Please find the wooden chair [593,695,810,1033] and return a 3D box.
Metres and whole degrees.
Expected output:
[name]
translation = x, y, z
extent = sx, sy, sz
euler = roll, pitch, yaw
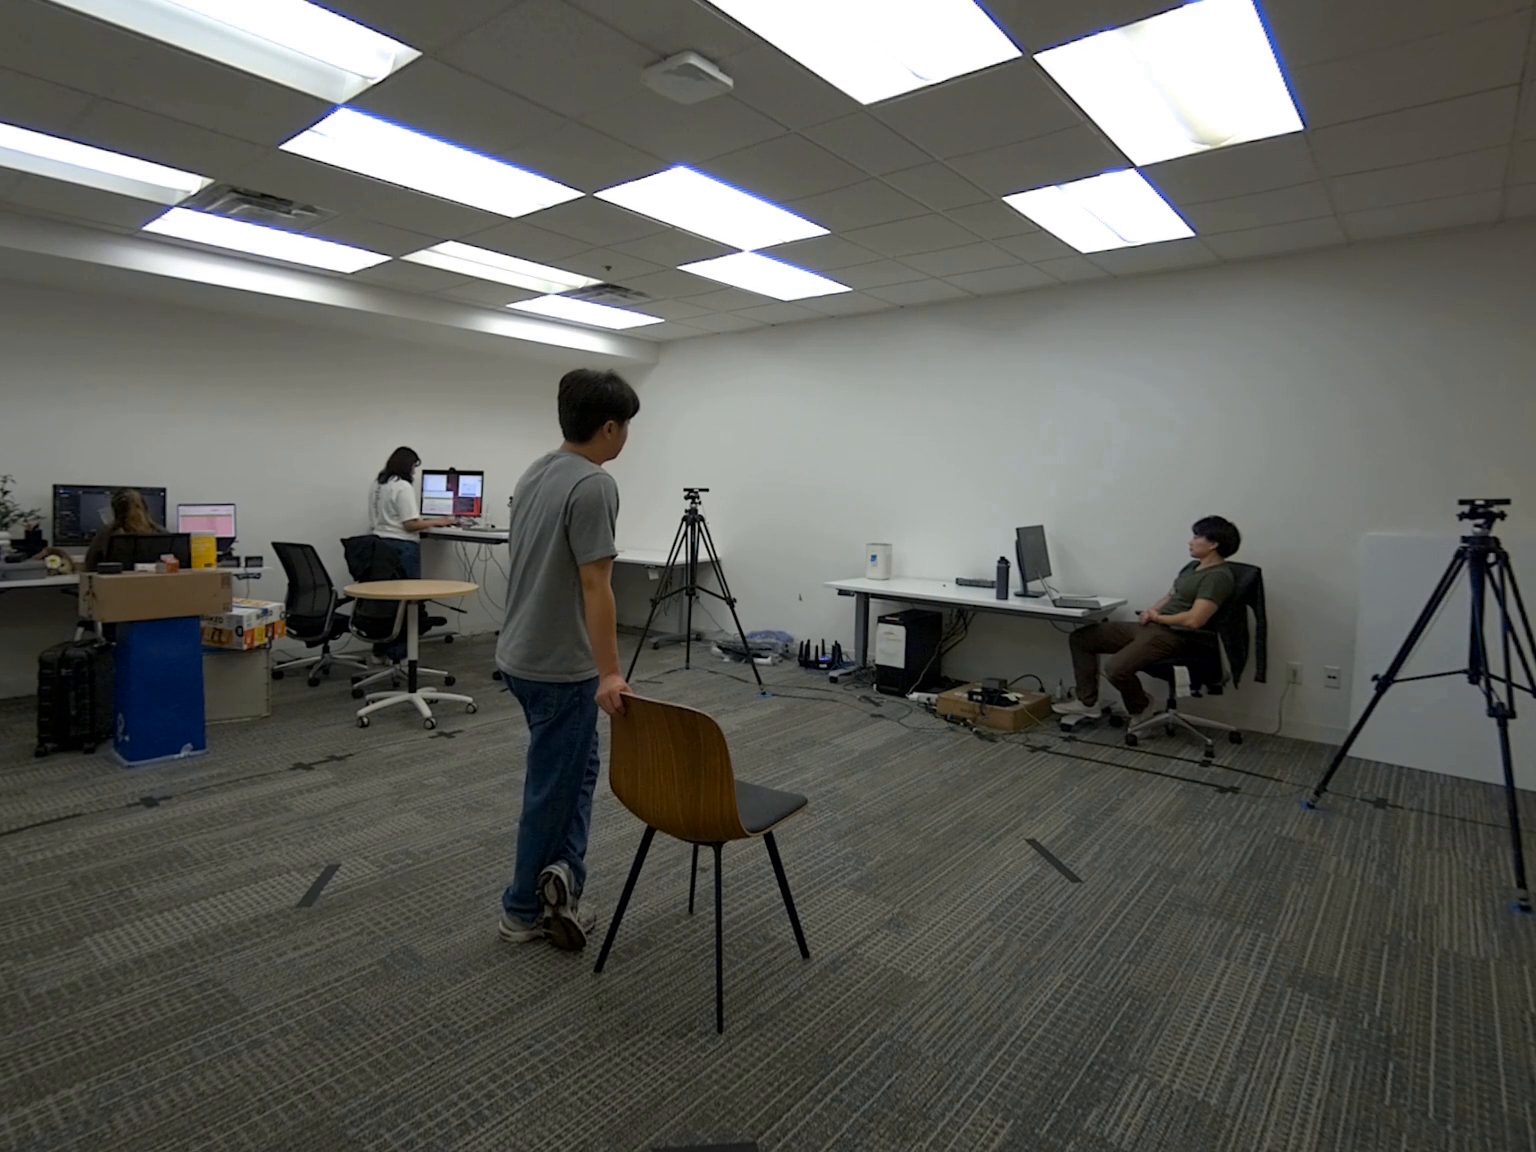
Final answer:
[wooden chair]
translation = -0.183, 0.708, 2.457
extent = 0.493, 0.871, 0.510
euler = 4, 9, 34
